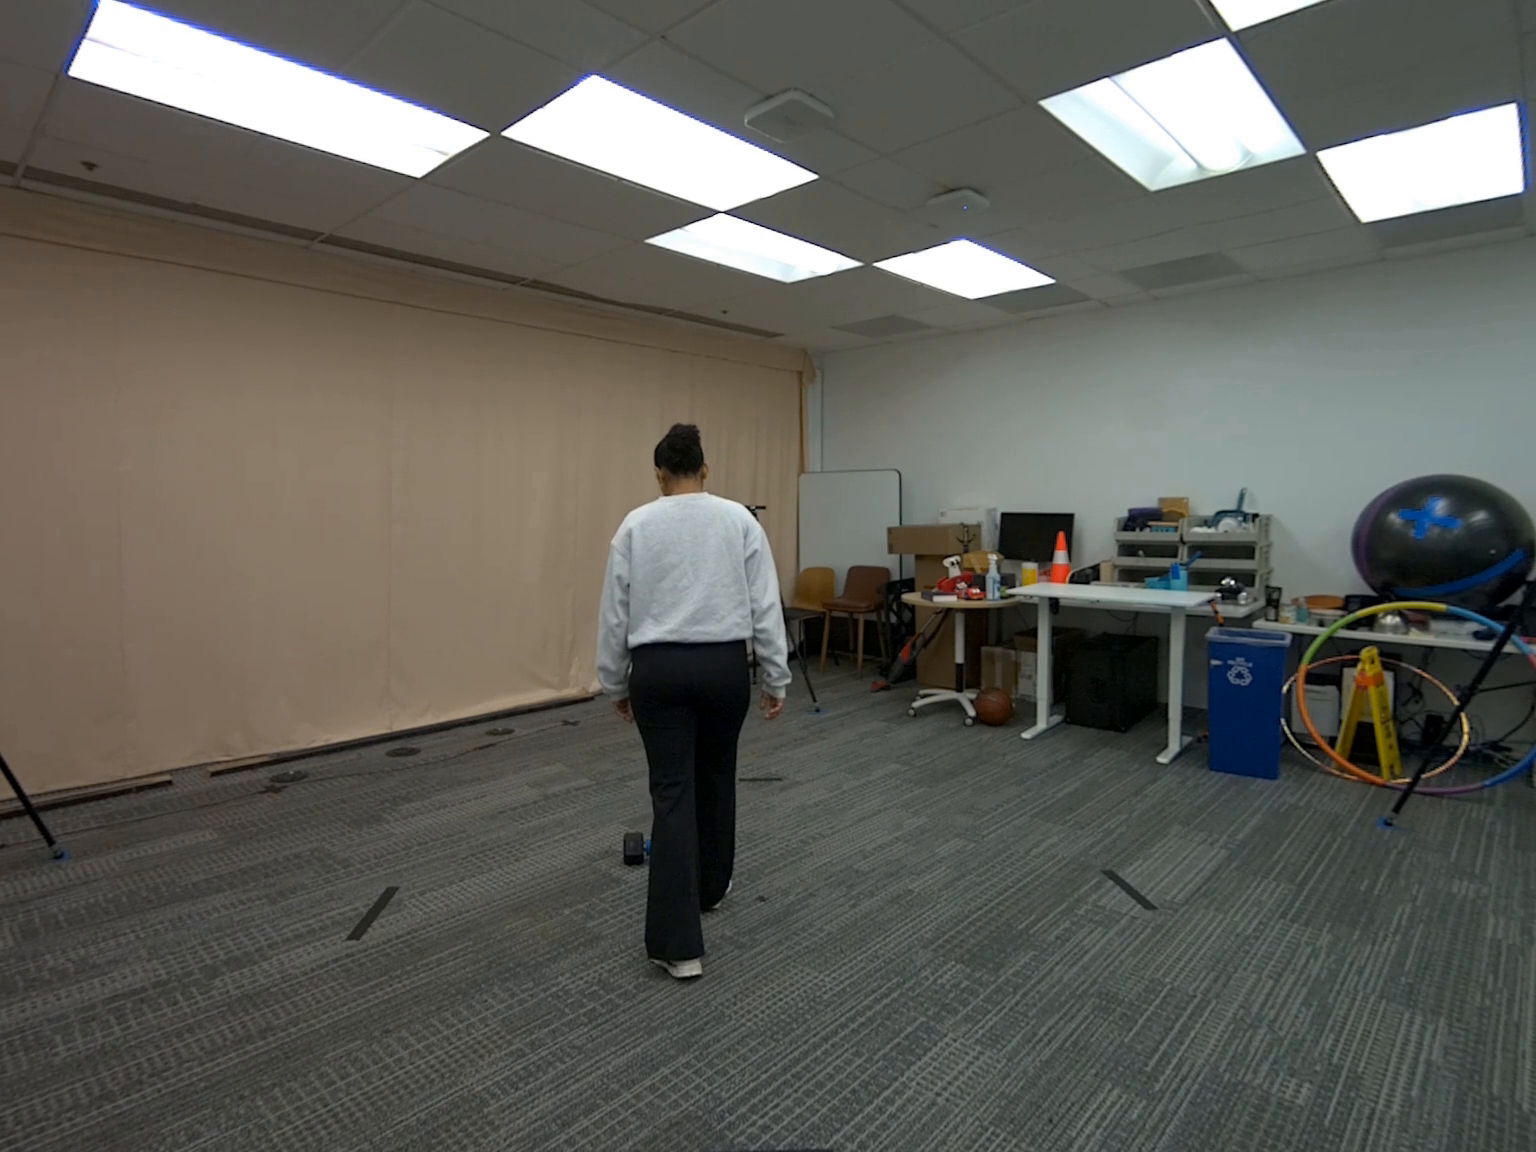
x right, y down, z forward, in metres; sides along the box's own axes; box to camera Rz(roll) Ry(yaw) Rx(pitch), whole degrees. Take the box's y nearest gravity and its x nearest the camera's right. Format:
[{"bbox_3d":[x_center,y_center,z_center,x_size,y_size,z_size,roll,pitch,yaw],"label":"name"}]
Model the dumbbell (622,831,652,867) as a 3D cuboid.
[{"bbox_3d":[-0.422,1.065,3.306,0.291,0.125,0.107,-1,-26,-6],"label":"dumbbell"}]
